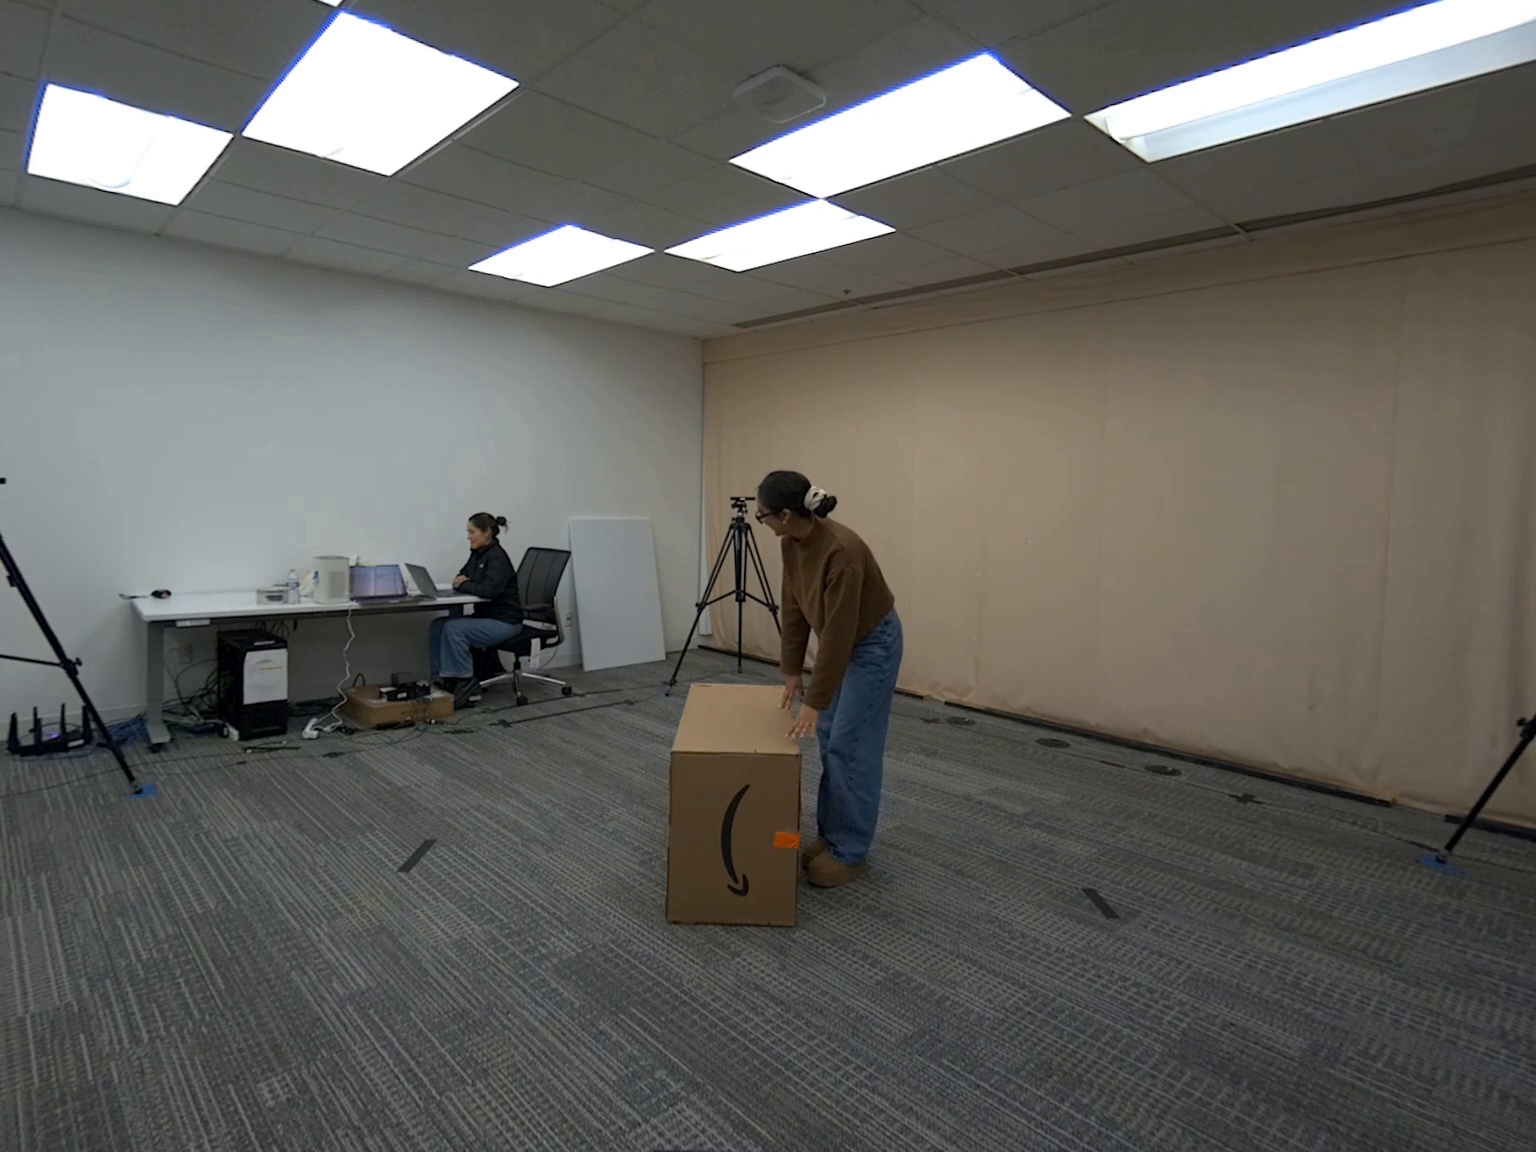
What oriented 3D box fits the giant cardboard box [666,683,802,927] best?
[{"bbox_3d":[-0.128,0.811,3.234,0.447,0.582,1.030,0,5,-1],"label":"giant cardboard box"}]
